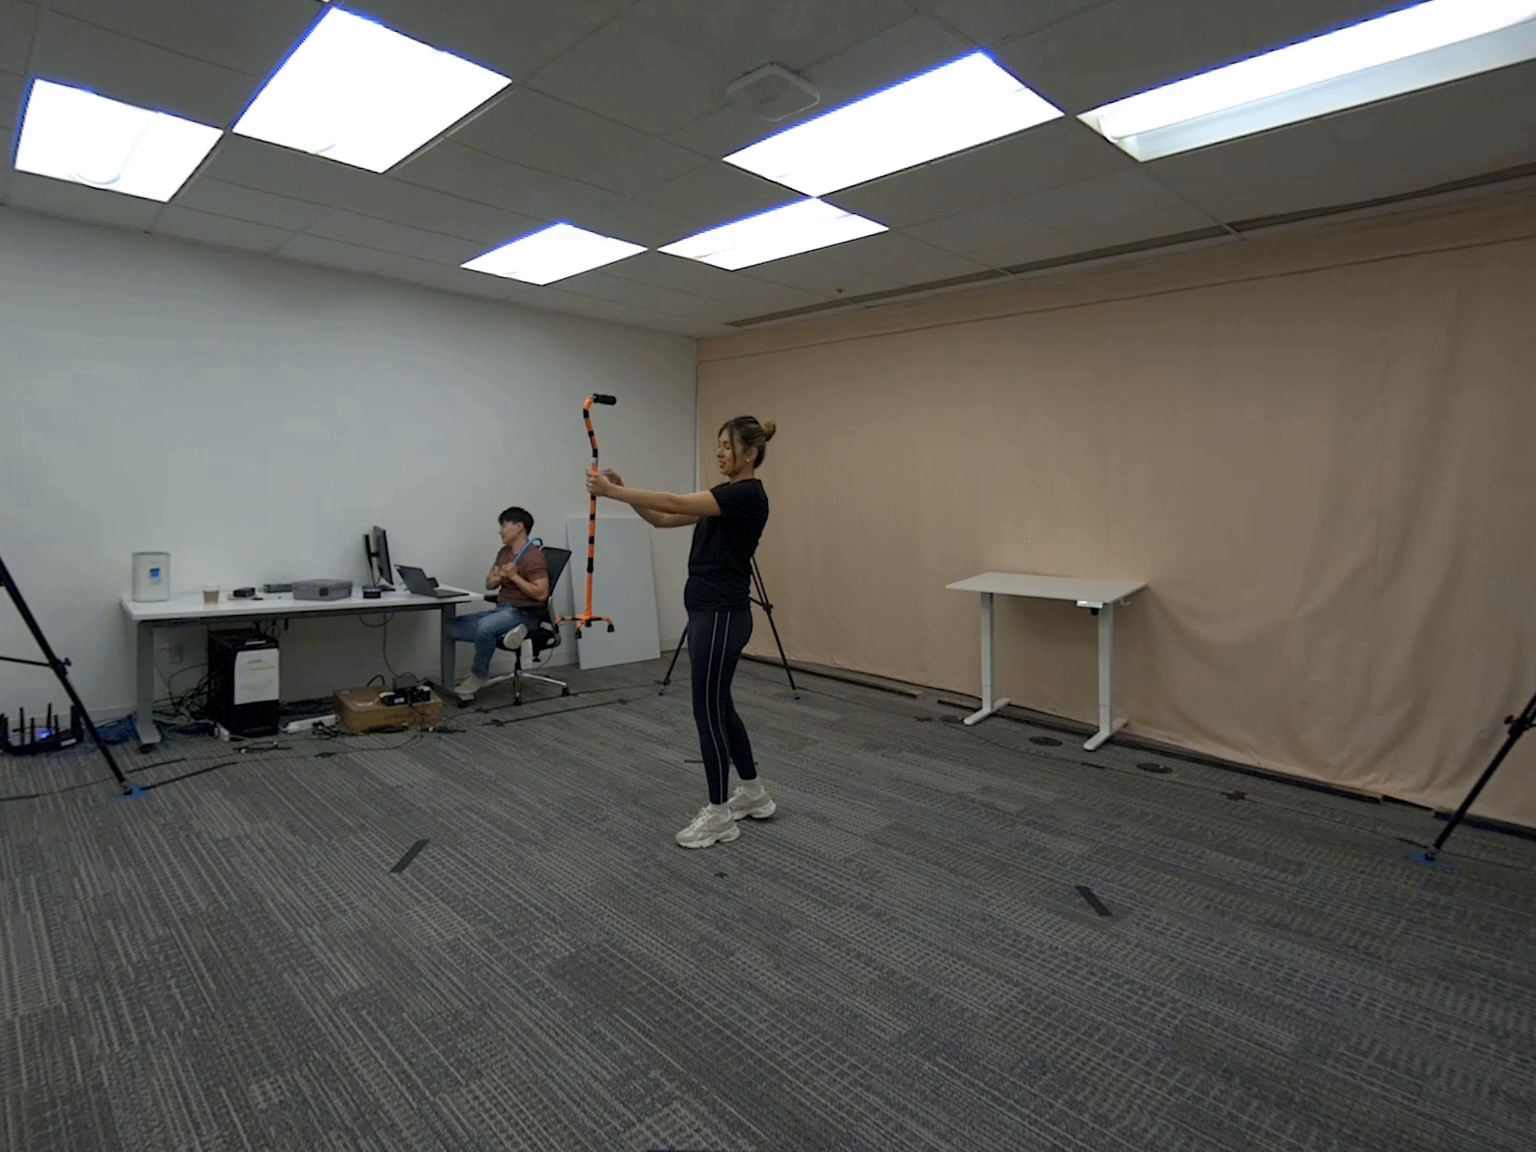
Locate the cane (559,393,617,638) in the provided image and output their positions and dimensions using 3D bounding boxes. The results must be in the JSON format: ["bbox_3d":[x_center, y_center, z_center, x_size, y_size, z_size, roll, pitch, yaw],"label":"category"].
[{"bbox_3d":[-0.687,-0.239,3.195,0.155,0.905,0.202,4,5,31],"label":"cane"}]
